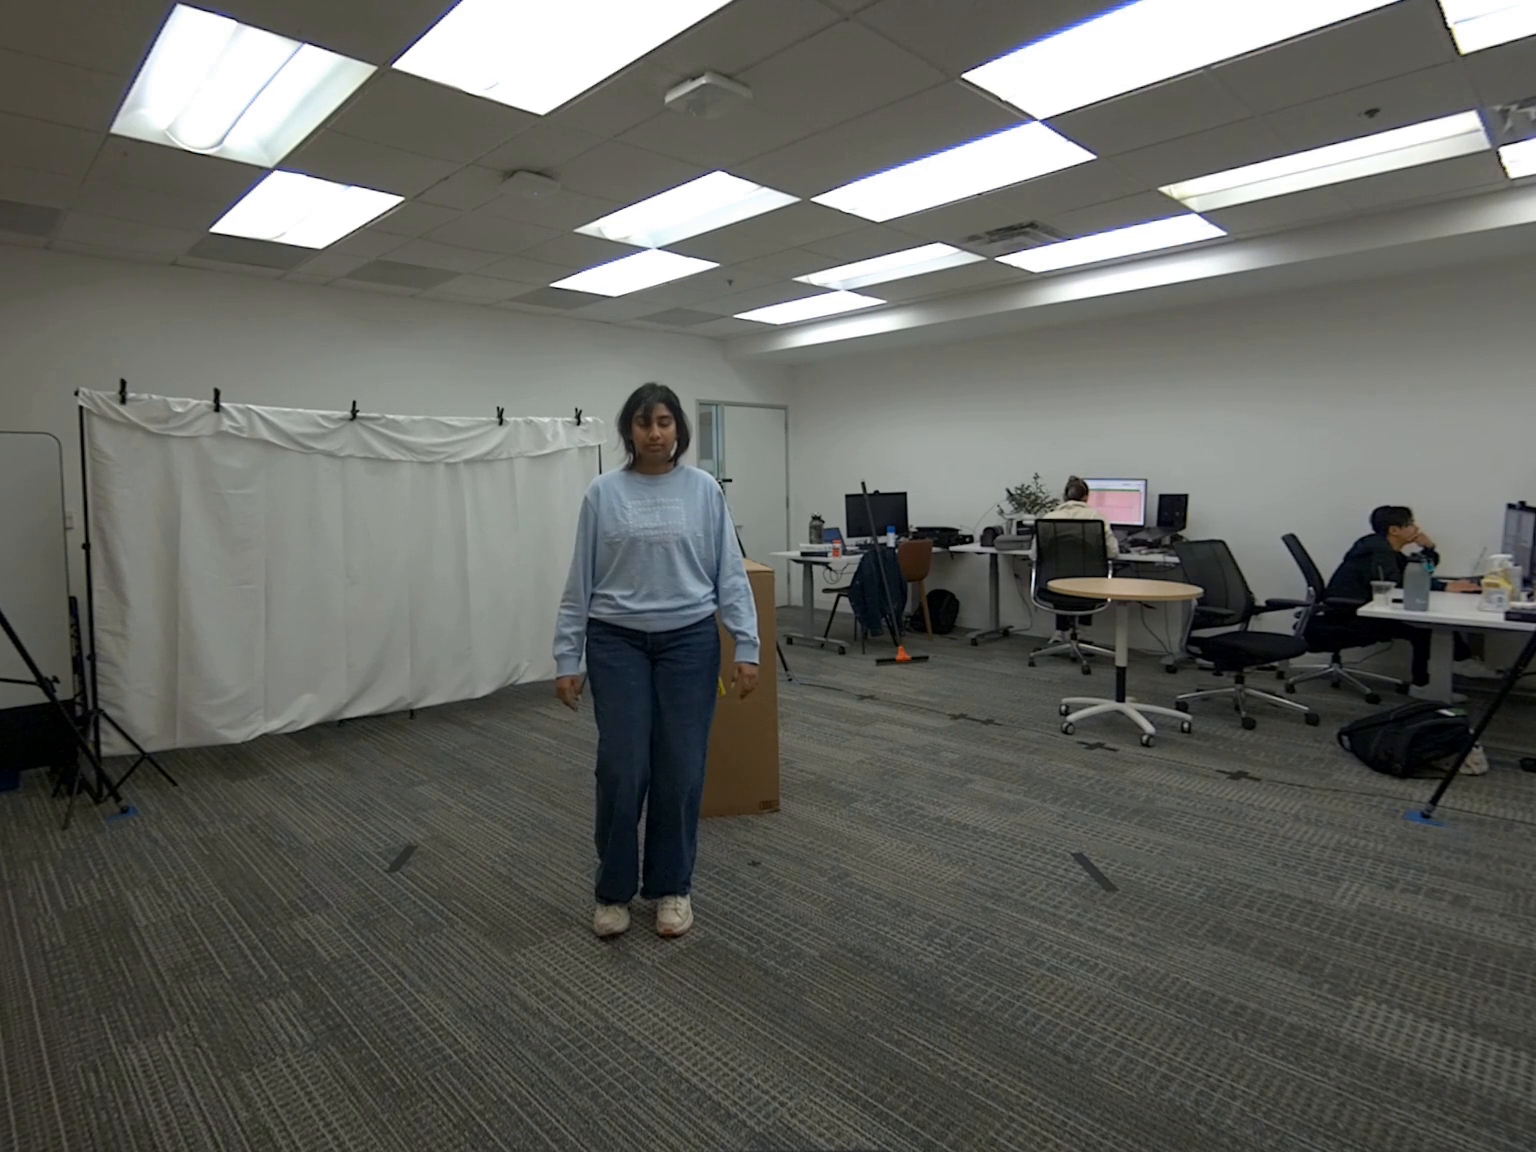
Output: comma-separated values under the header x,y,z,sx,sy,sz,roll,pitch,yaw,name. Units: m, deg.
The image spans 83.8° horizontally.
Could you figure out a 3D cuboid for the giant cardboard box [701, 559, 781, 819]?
x,y,z,sx,sy,sz,roll,pitch,yaw,name
-0.231,0.462,3.806,0.442,1.024,0.592,-2,4,-11,giant cardboard box
